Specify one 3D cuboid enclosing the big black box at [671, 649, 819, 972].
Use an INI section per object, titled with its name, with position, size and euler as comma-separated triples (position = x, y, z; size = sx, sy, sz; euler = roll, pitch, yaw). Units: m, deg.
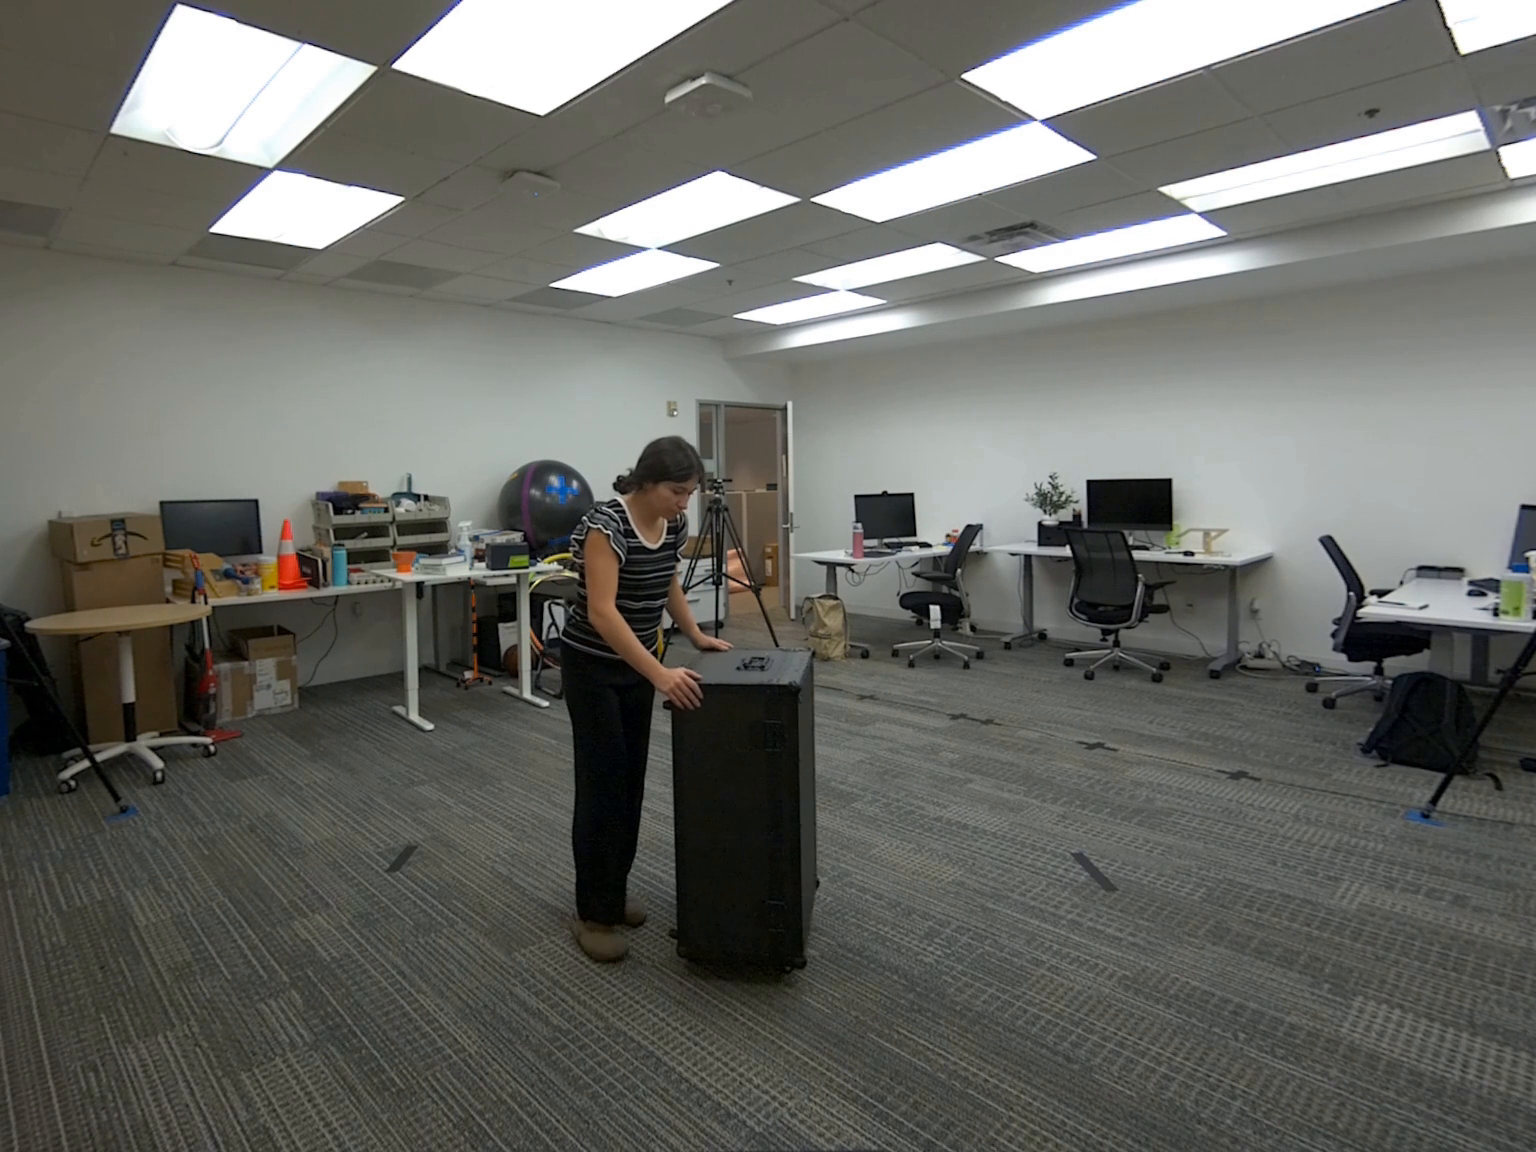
[big black box]
position = -0.060, 0.681, 2.550
size = 0.400, 0.859, 0.518
euler = -1, 4, 10
